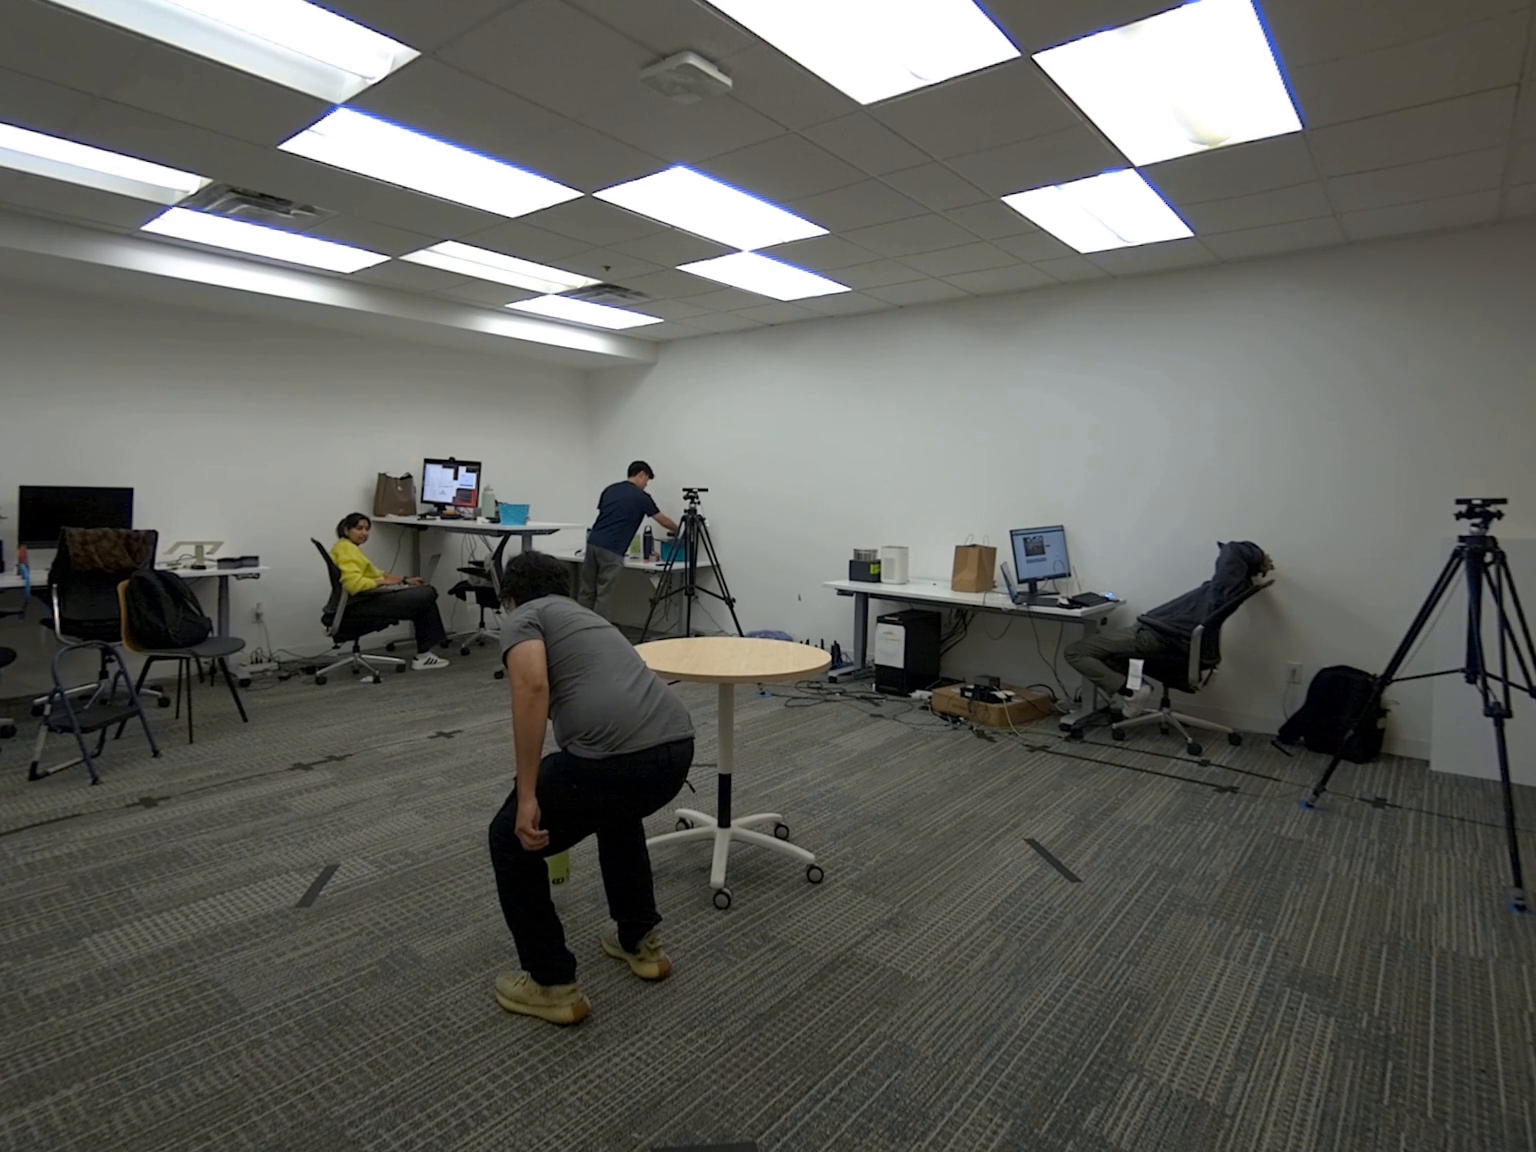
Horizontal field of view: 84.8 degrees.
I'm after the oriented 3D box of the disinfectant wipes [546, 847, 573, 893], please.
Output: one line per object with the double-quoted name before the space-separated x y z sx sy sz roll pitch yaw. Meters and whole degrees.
"disinfectant wipes" -0.721 0.921 2.805 0.118 0.218 0.118 0 -2 -2
